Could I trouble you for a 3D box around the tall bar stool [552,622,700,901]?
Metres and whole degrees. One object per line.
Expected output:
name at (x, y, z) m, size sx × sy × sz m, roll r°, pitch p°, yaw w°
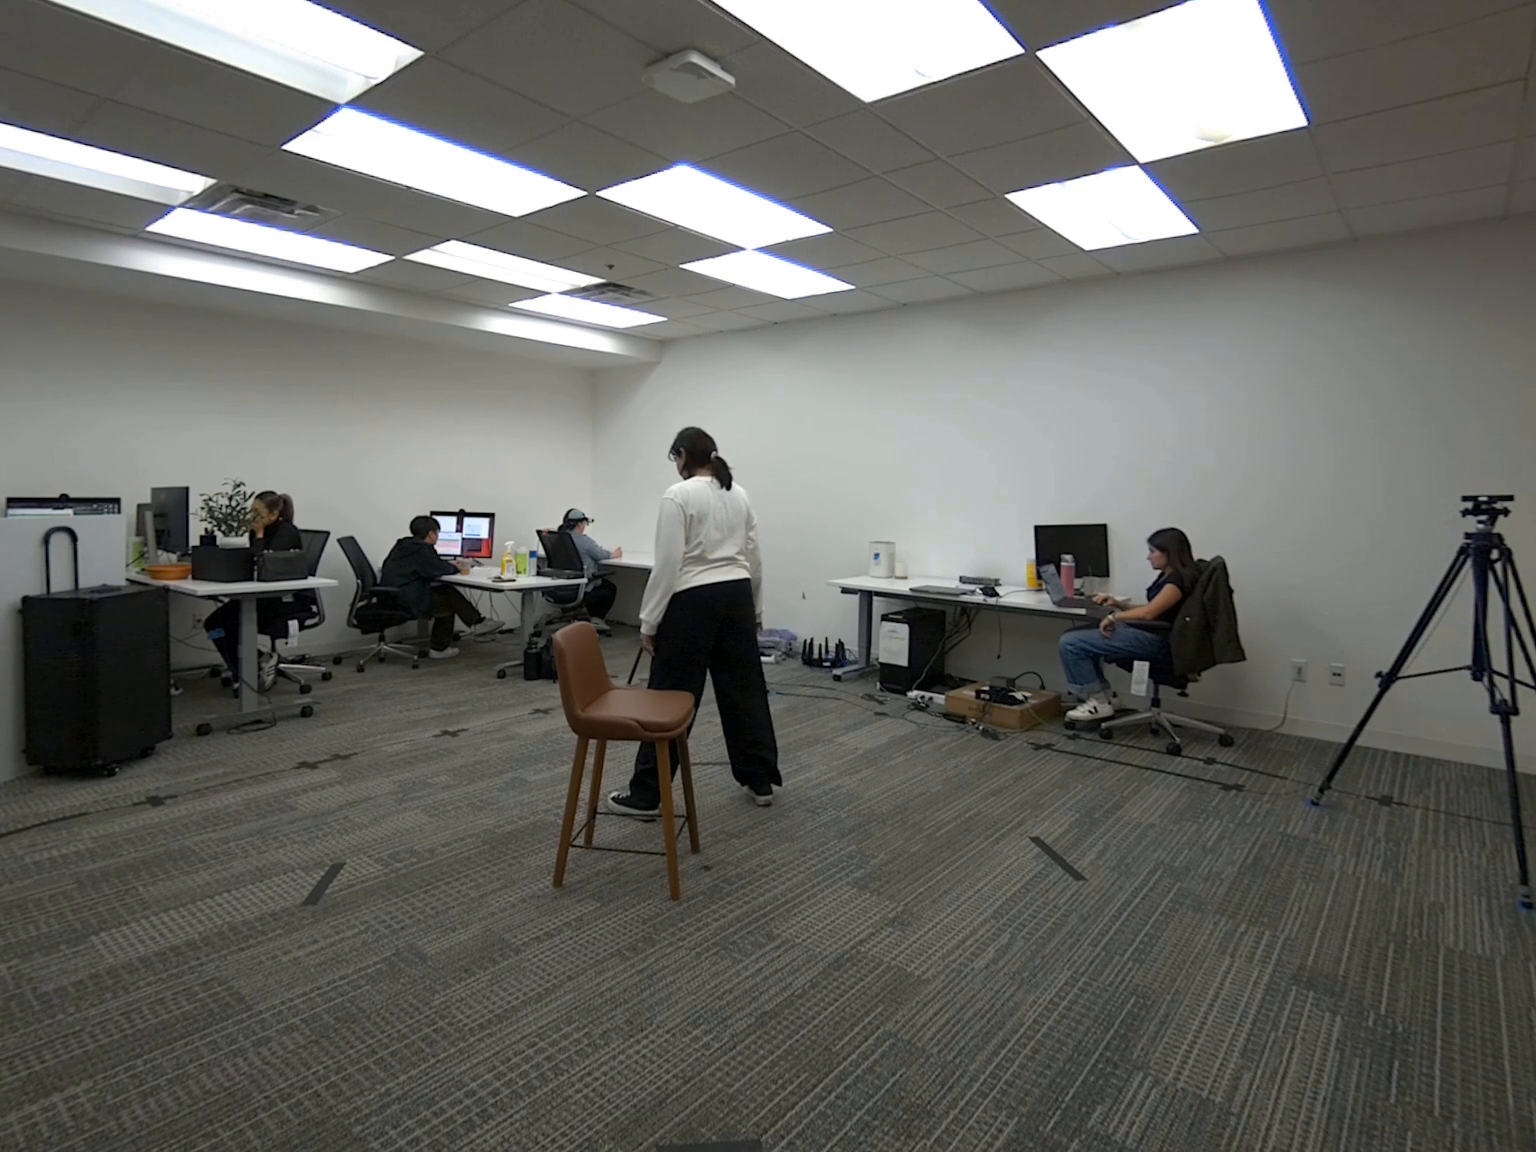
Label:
tall bar stool at (-0.508, 0.634, 3.065) m, size 0.472 × 0.887 × 0.453 m, roll 0°, pitch 4°, yaw 9°
